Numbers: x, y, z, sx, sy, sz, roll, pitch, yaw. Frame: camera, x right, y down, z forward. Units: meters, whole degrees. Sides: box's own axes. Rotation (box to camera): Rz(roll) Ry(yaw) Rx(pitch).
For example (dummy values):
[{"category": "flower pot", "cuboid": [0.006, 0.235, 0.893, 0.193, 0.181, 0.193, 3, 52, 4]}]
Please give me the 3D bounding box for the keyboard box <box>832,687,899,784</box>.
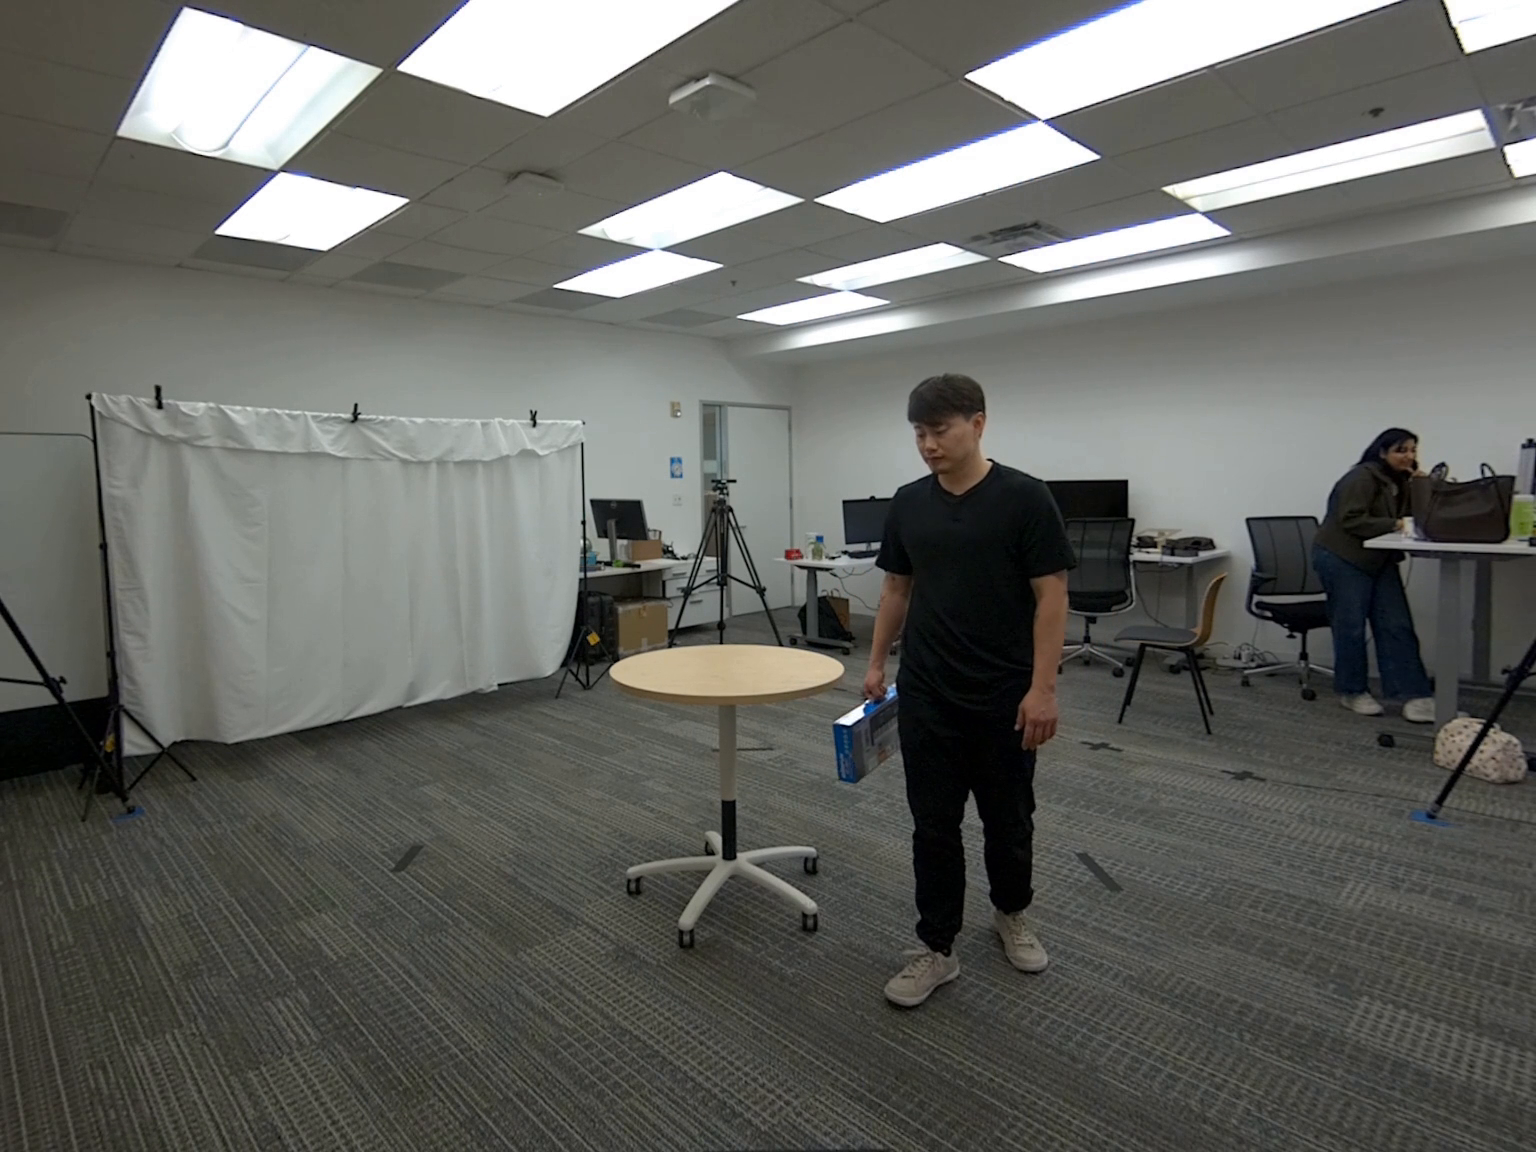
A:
[{"category": "keyboard box", "cuboid": [0.337, 0.452, 2.558, 0.061, 0.174, 0.428, 0, 12, 38]}]
